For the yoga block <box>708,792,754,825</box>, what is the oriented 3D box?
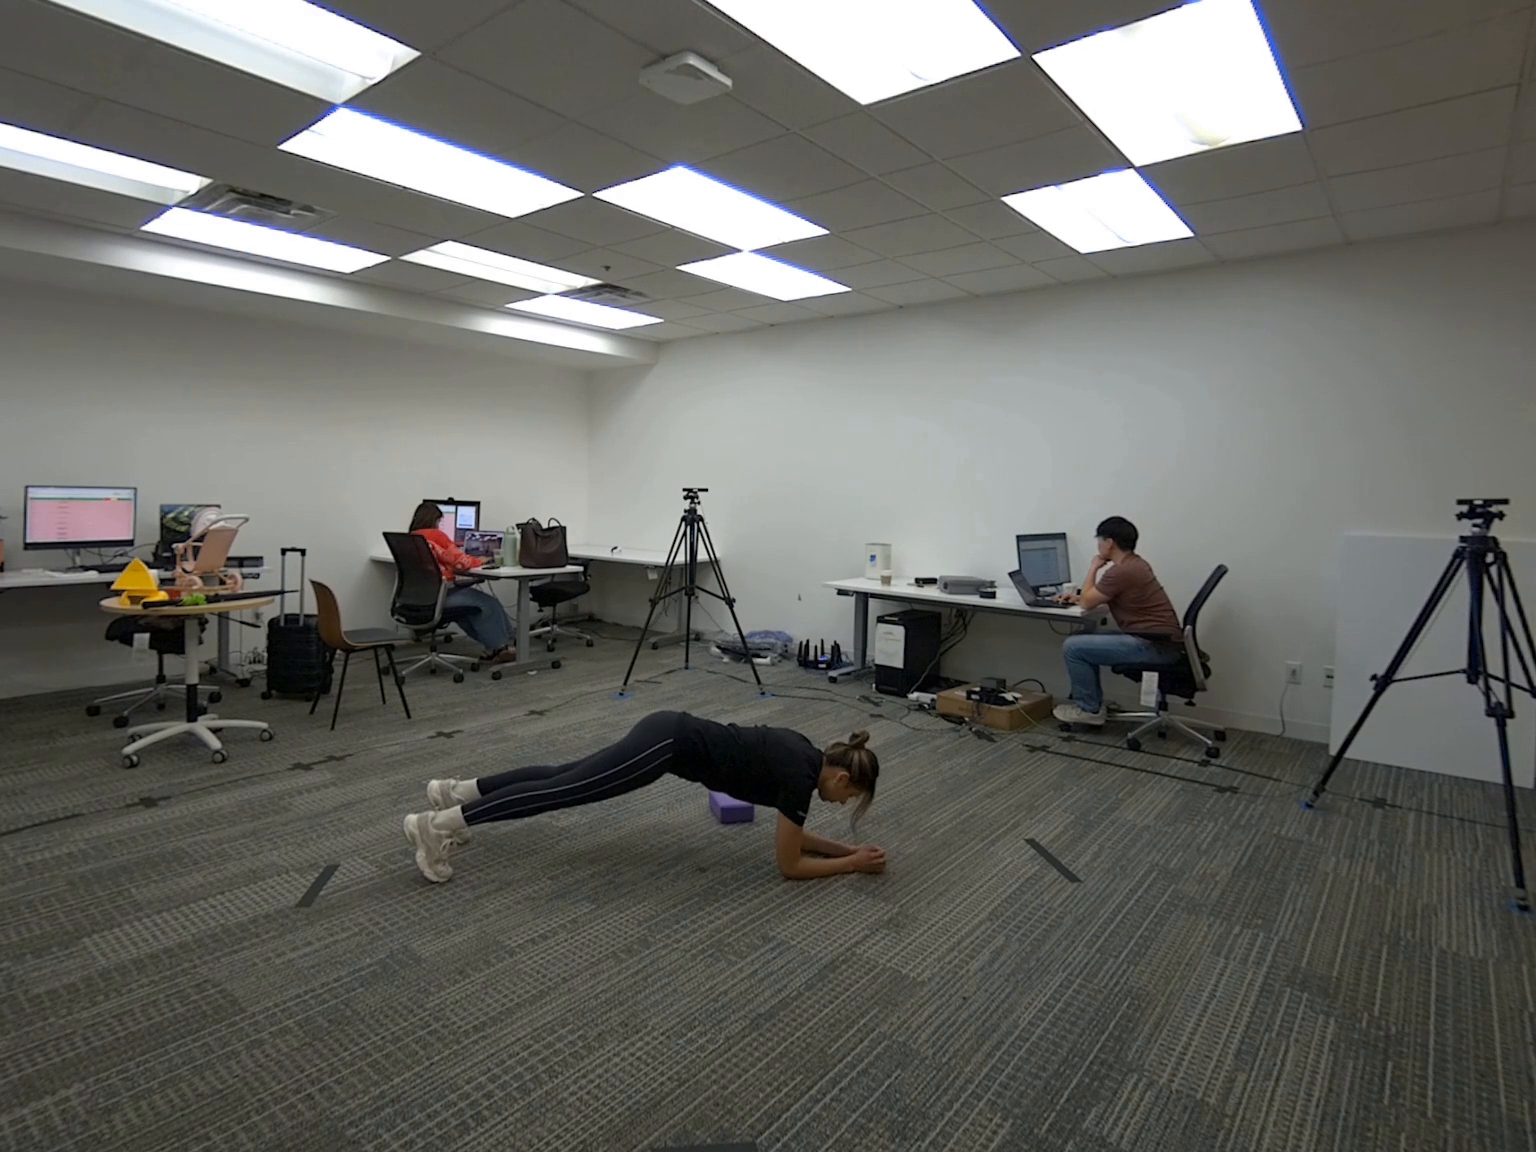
[{"bbox_3d":[-0.168,0.978,3.657,0.146,0.076,0.234,0,5,-17],"label":"yoga block"}]
